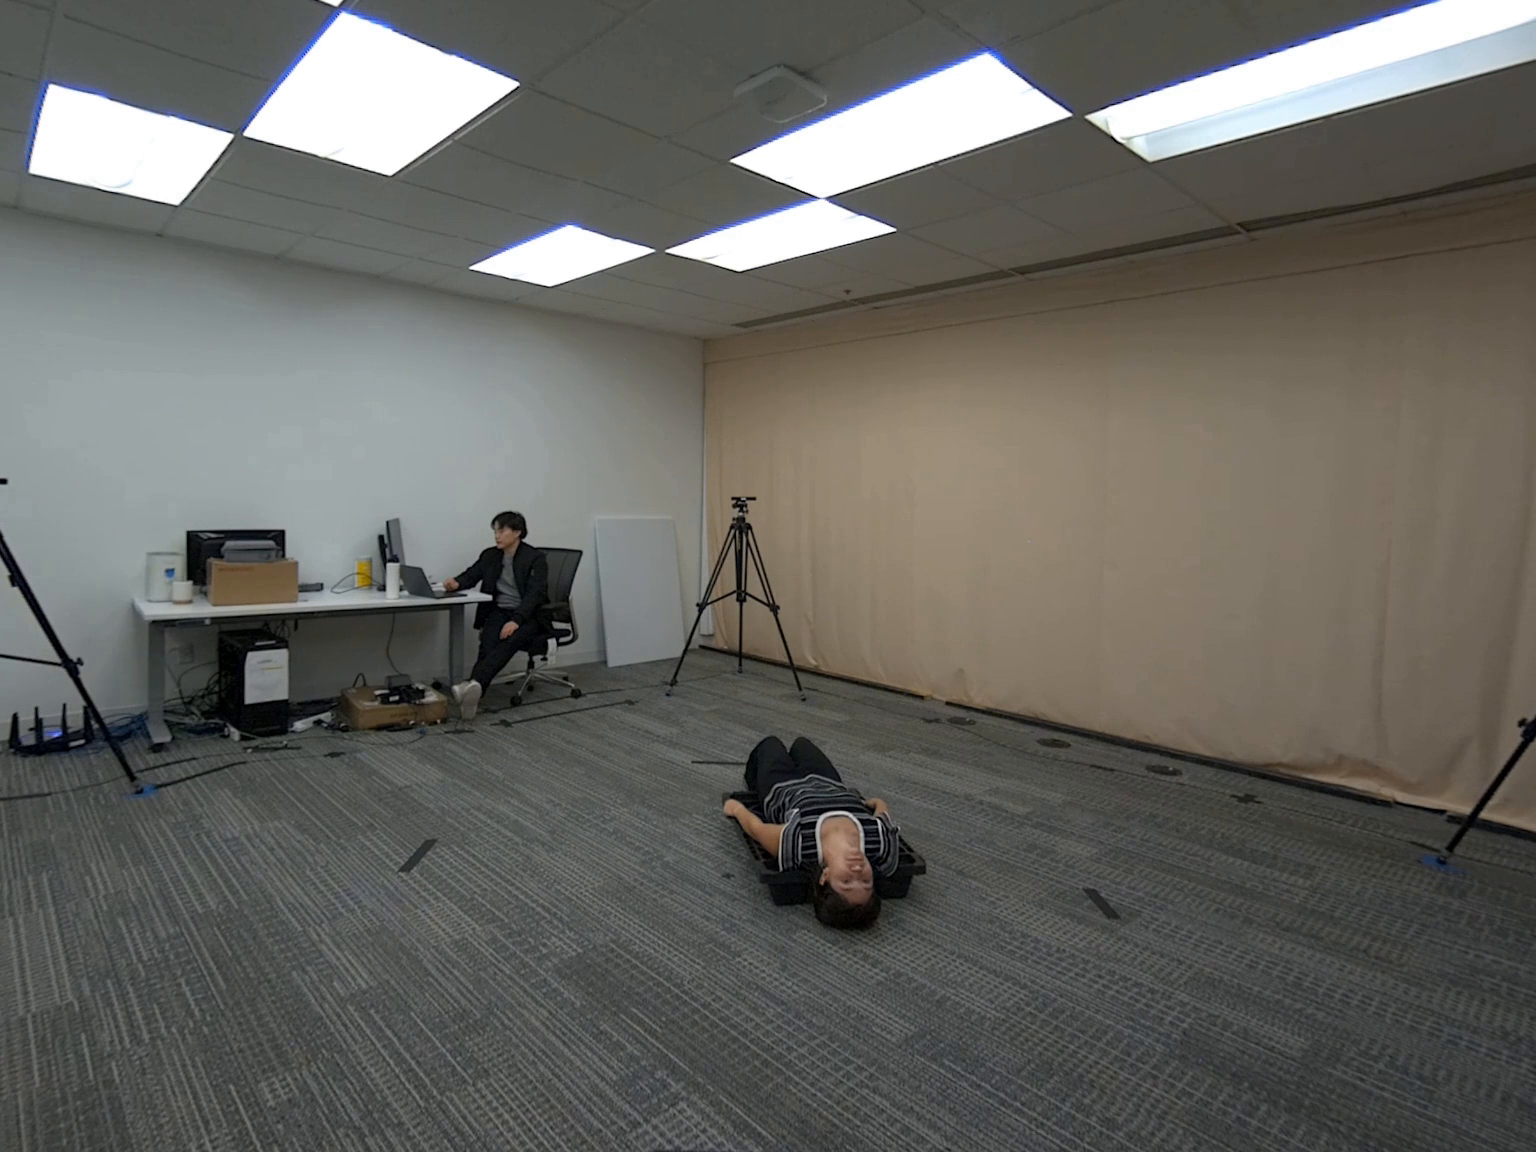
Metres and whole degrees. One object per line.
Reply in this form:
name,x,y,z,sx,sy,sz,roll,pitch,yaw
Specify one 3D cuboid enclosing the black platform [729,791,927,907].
black platform,0.176,1.032,3.285,0.600,0.143,0.815,0,4,-12
